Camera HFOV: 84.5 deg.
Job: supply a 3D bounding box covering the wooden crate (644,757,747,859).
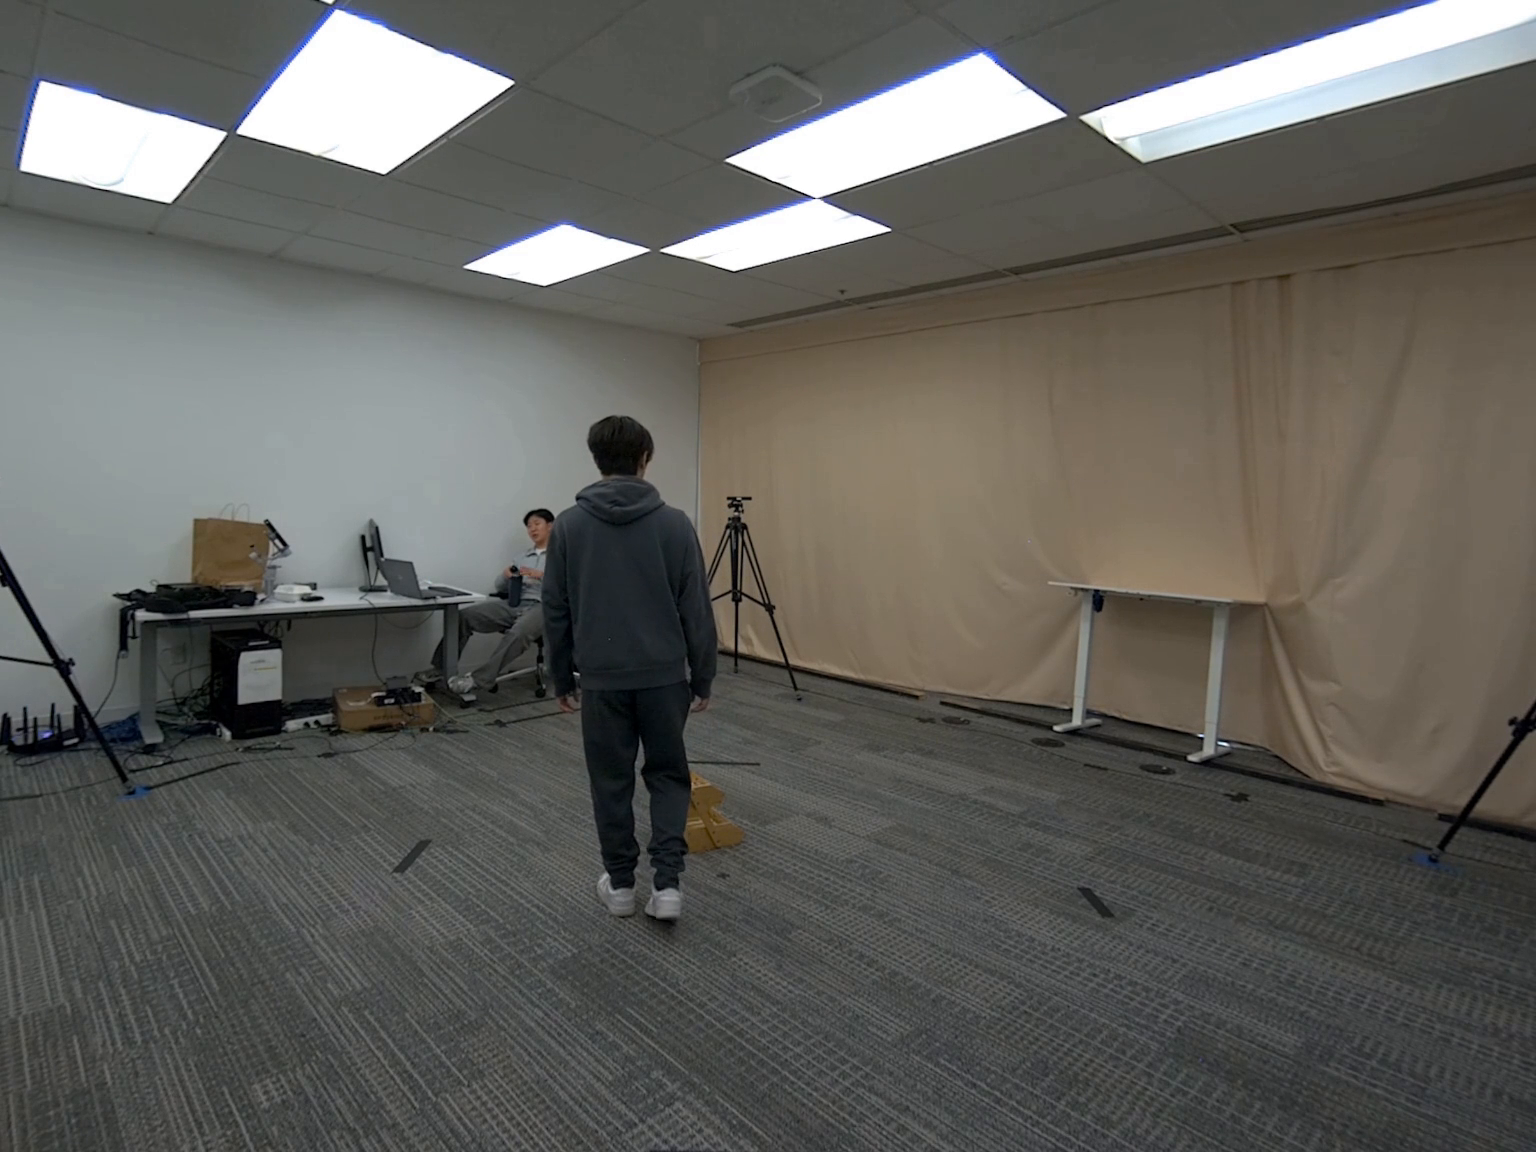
[{"bbox_3d":[-0.303,0.939,3.464,0.296,0.272,0.332,-1,5,-30],"label":"wooden crate"}]
